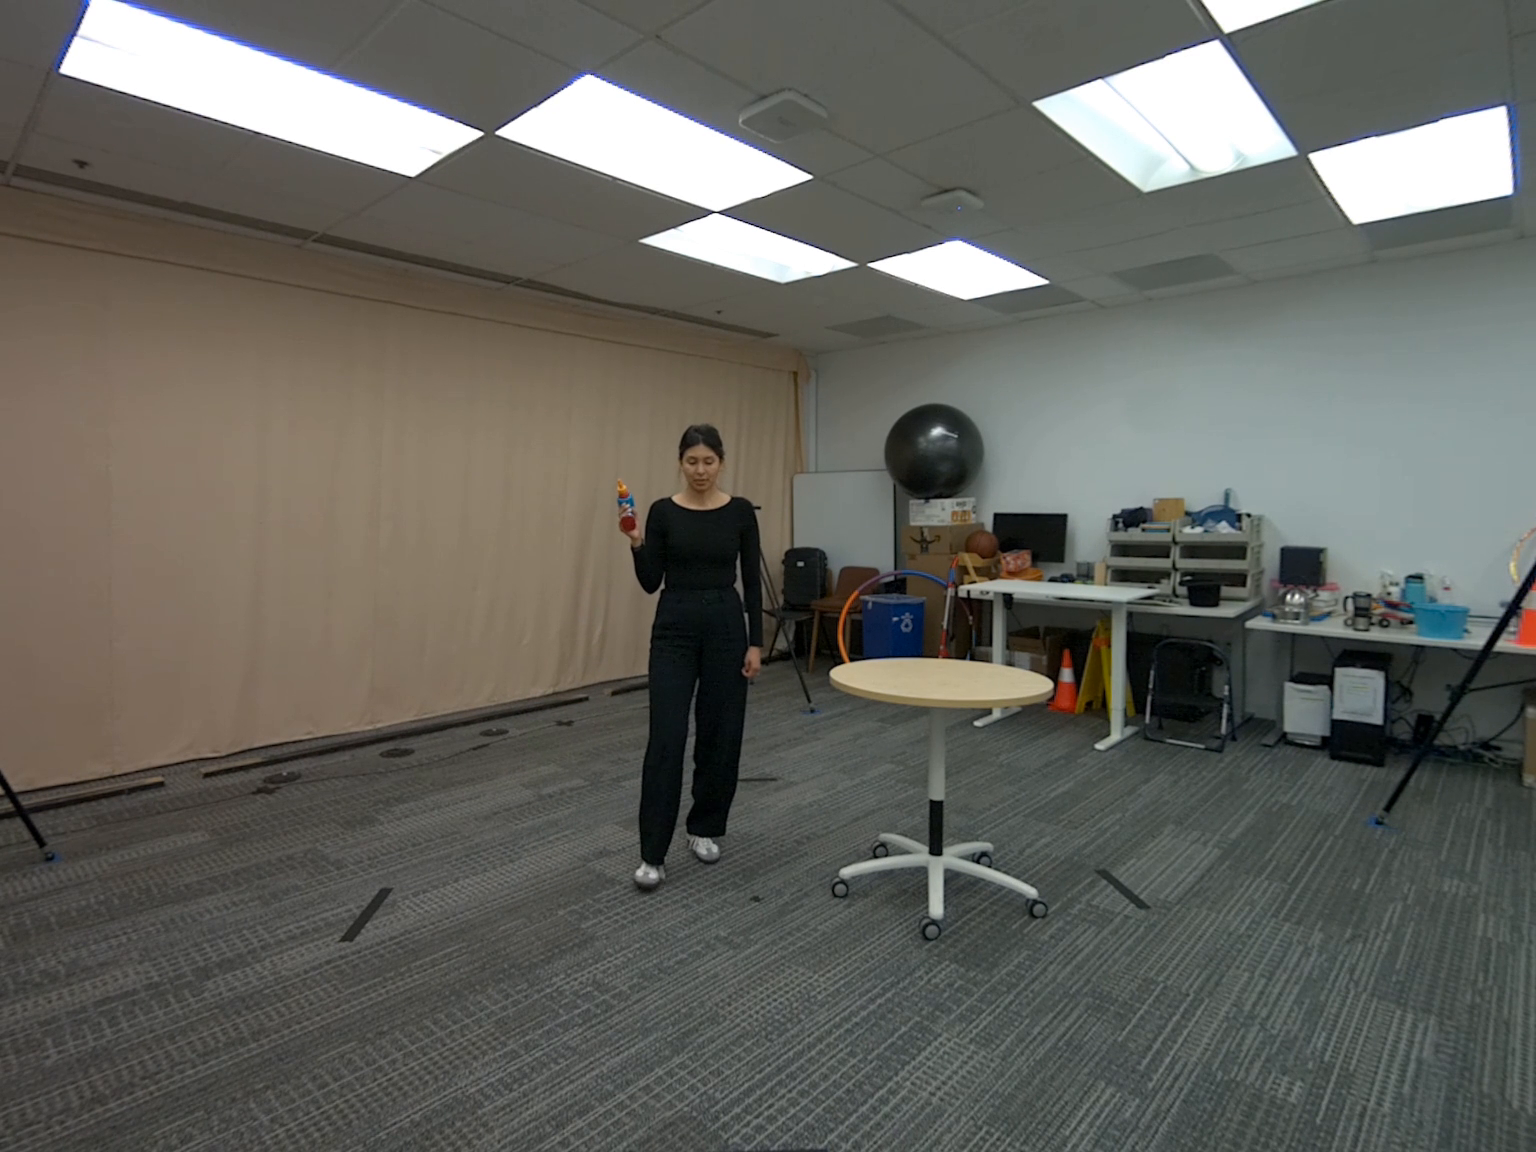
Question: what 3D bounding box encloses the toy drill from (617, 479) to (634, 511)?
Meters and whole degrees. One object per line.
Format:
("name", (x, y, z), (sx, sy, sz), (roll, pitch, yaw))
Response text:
("toy drill", (-0.532, -0.267, 3.105), (0.061, 0.166, 0.149), (-9, 39, -4))
